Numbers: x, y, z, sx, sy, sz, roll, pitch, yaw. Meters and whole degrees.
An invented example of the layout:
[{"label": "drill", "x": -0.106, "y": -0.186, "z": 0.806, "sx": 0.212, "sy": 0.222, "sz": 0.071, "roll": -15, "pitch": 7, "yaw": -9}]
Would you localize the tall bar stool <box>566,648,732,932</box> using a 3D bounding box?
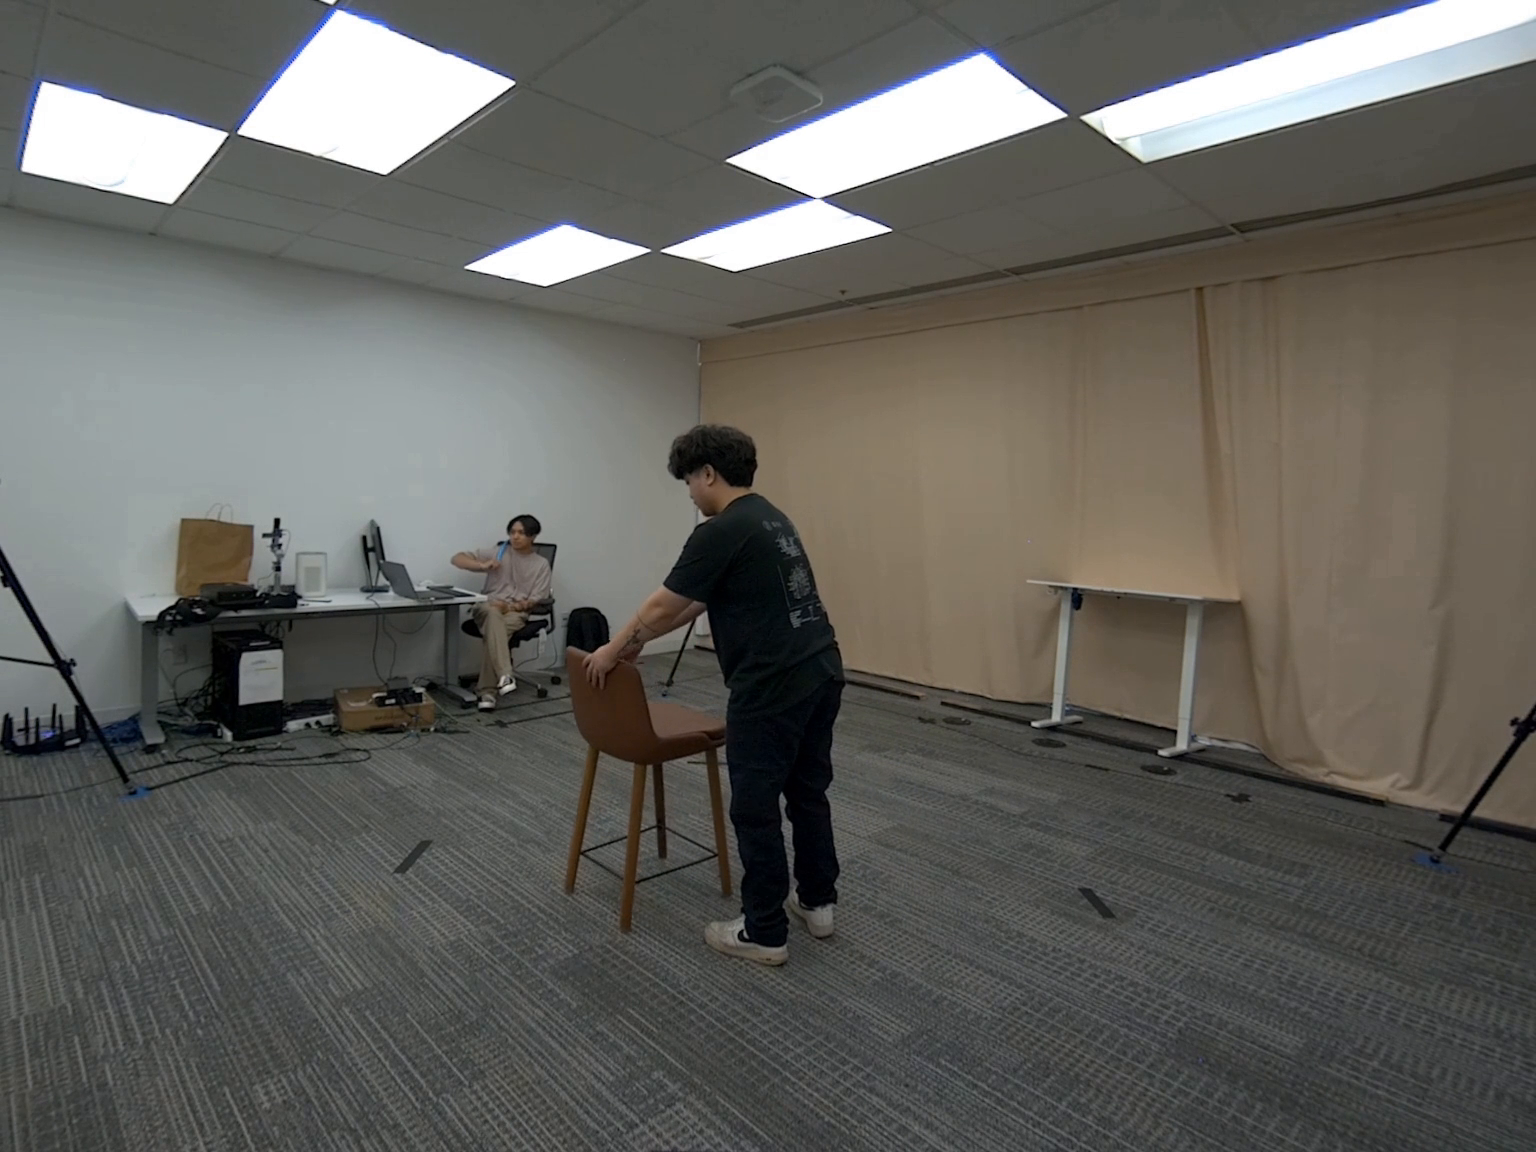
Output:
[{"label": "tall bar stool", "x": -0.428, "y": 0.674, "z": 2.939, "sx": 0.457, "sy": 0.887, "sz": 0.468, "roll": -4, "pitch": 6, "yaw": -42}]
